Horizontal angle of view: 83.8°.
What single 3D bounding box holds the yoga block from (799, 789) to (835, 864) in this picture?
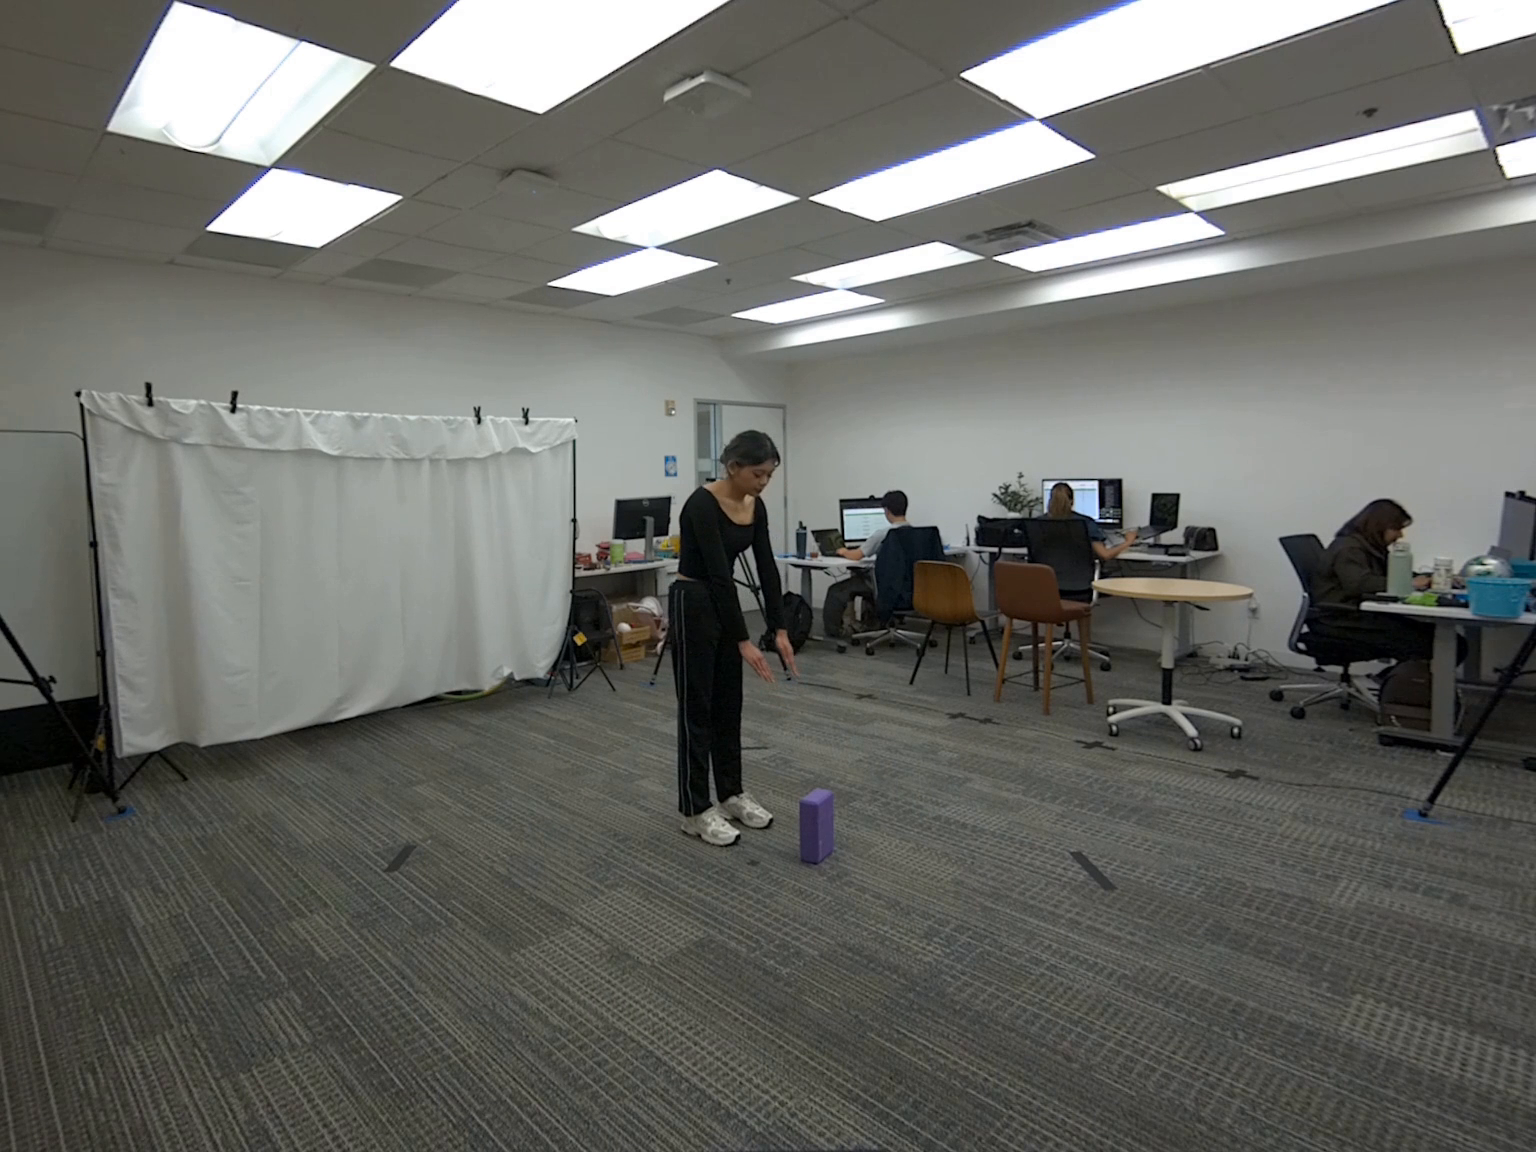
[{"bbox_3d":[0.185,0.919,3.148,0.078,0.229,0.145,2,4,29],"label":"yoga block"}]
